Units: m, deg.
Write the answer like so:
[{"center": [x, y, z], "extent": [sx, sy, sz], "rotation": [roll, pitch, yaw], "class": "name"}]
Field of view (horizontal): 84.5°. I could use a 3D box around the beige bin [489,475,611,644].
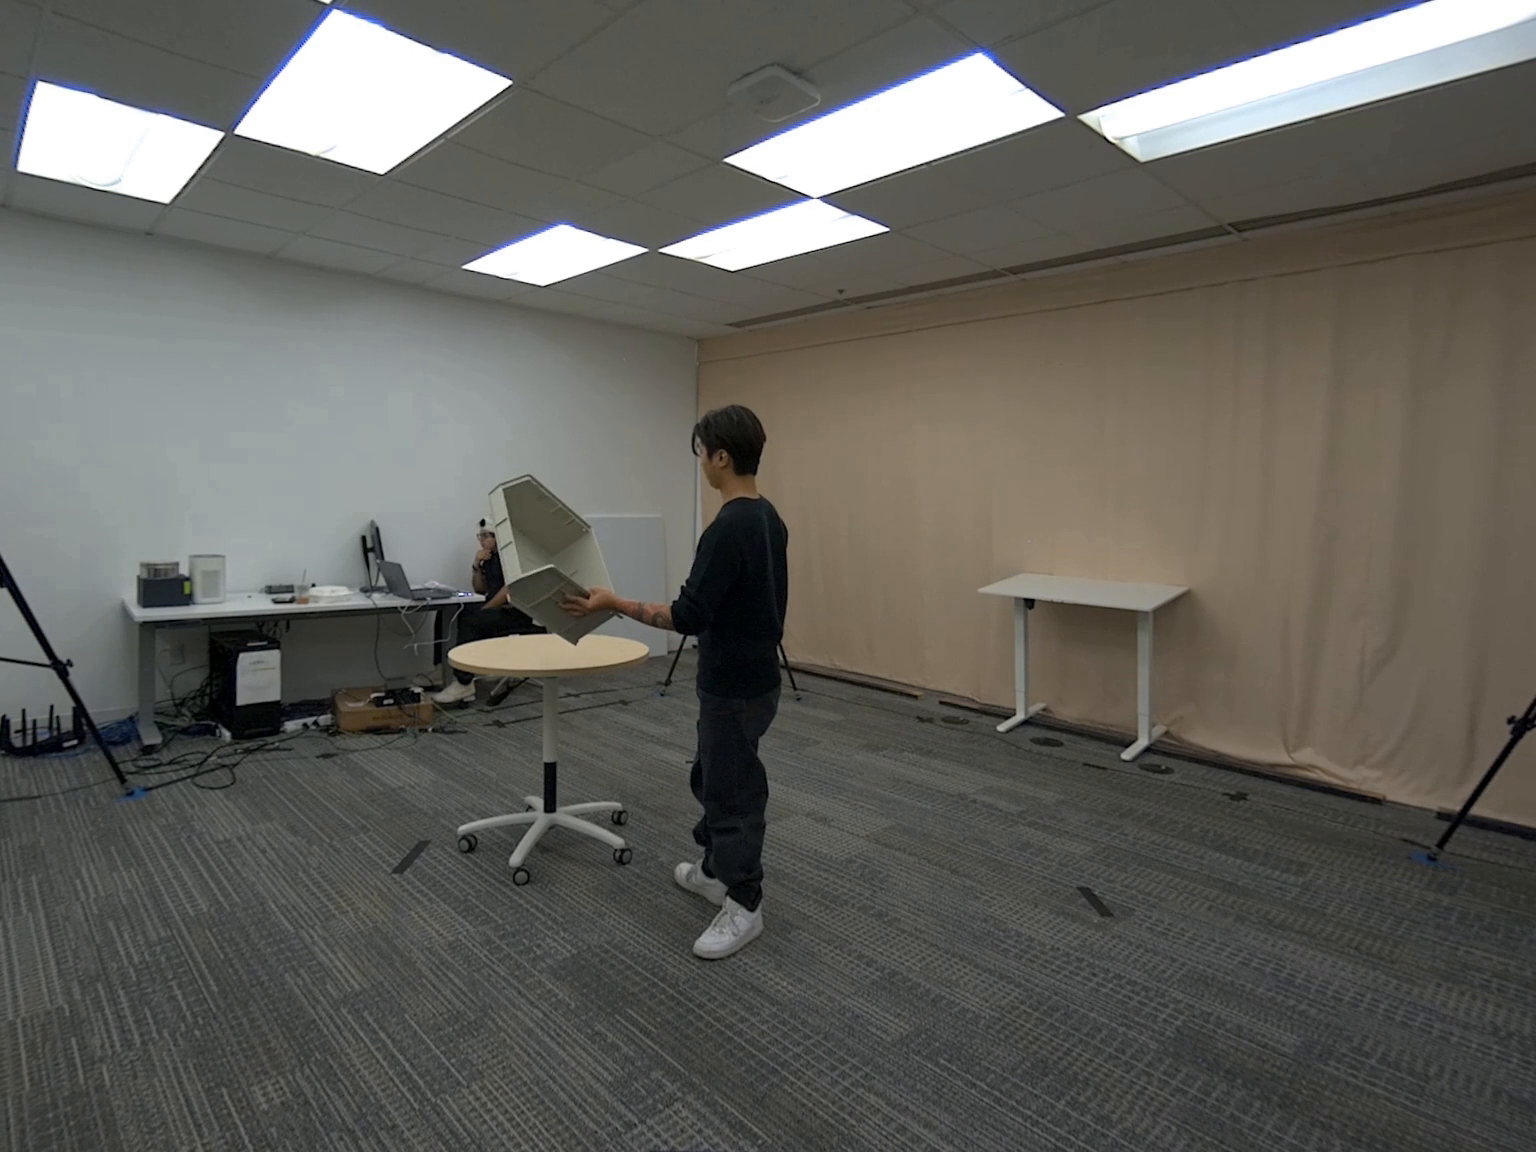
[{"center": [-0.679, -0.053, 2.604], "extent": [0.189, 0.435, 0.365], "rotation": [-35, -40, 7], "class": "beige bin"}]
